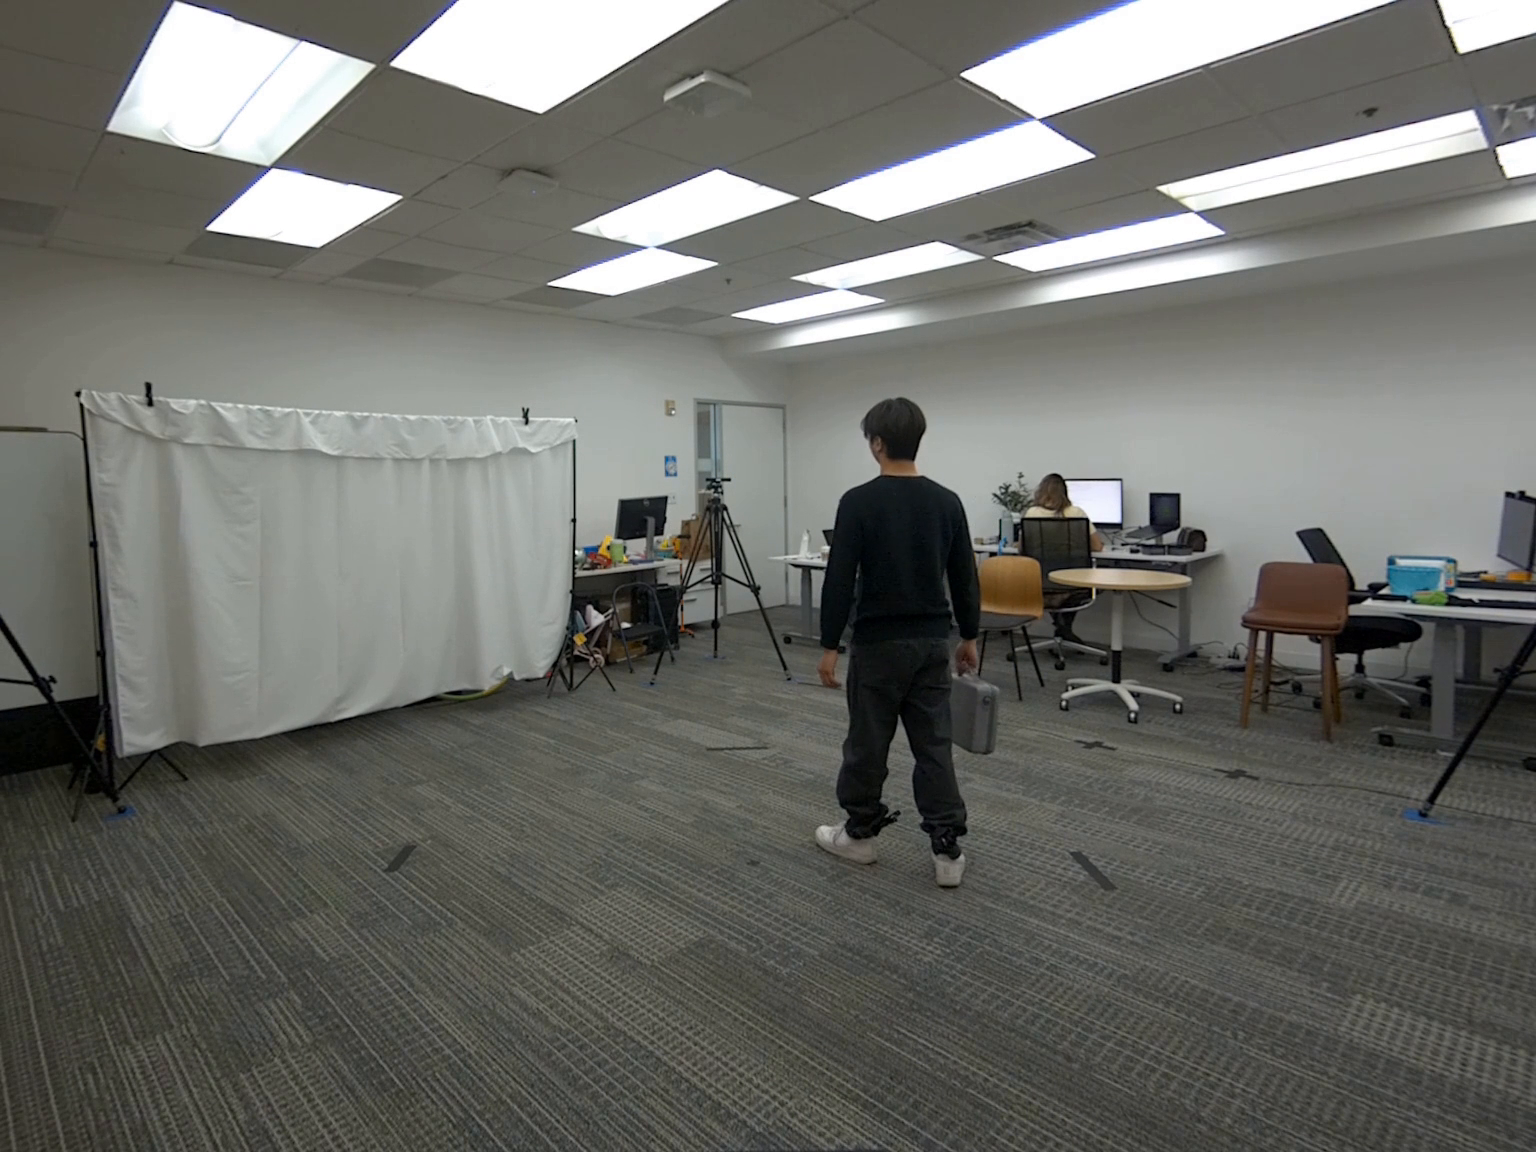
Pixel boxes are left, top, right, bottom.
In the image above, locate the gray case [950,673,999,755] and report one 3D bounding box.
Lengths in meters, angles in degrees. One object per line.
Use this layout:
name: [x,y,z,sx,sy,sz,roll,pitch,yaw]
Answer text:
gray case: [0.744,0.499,3.175,0.103,0.260,0.261,0,3,-16]
